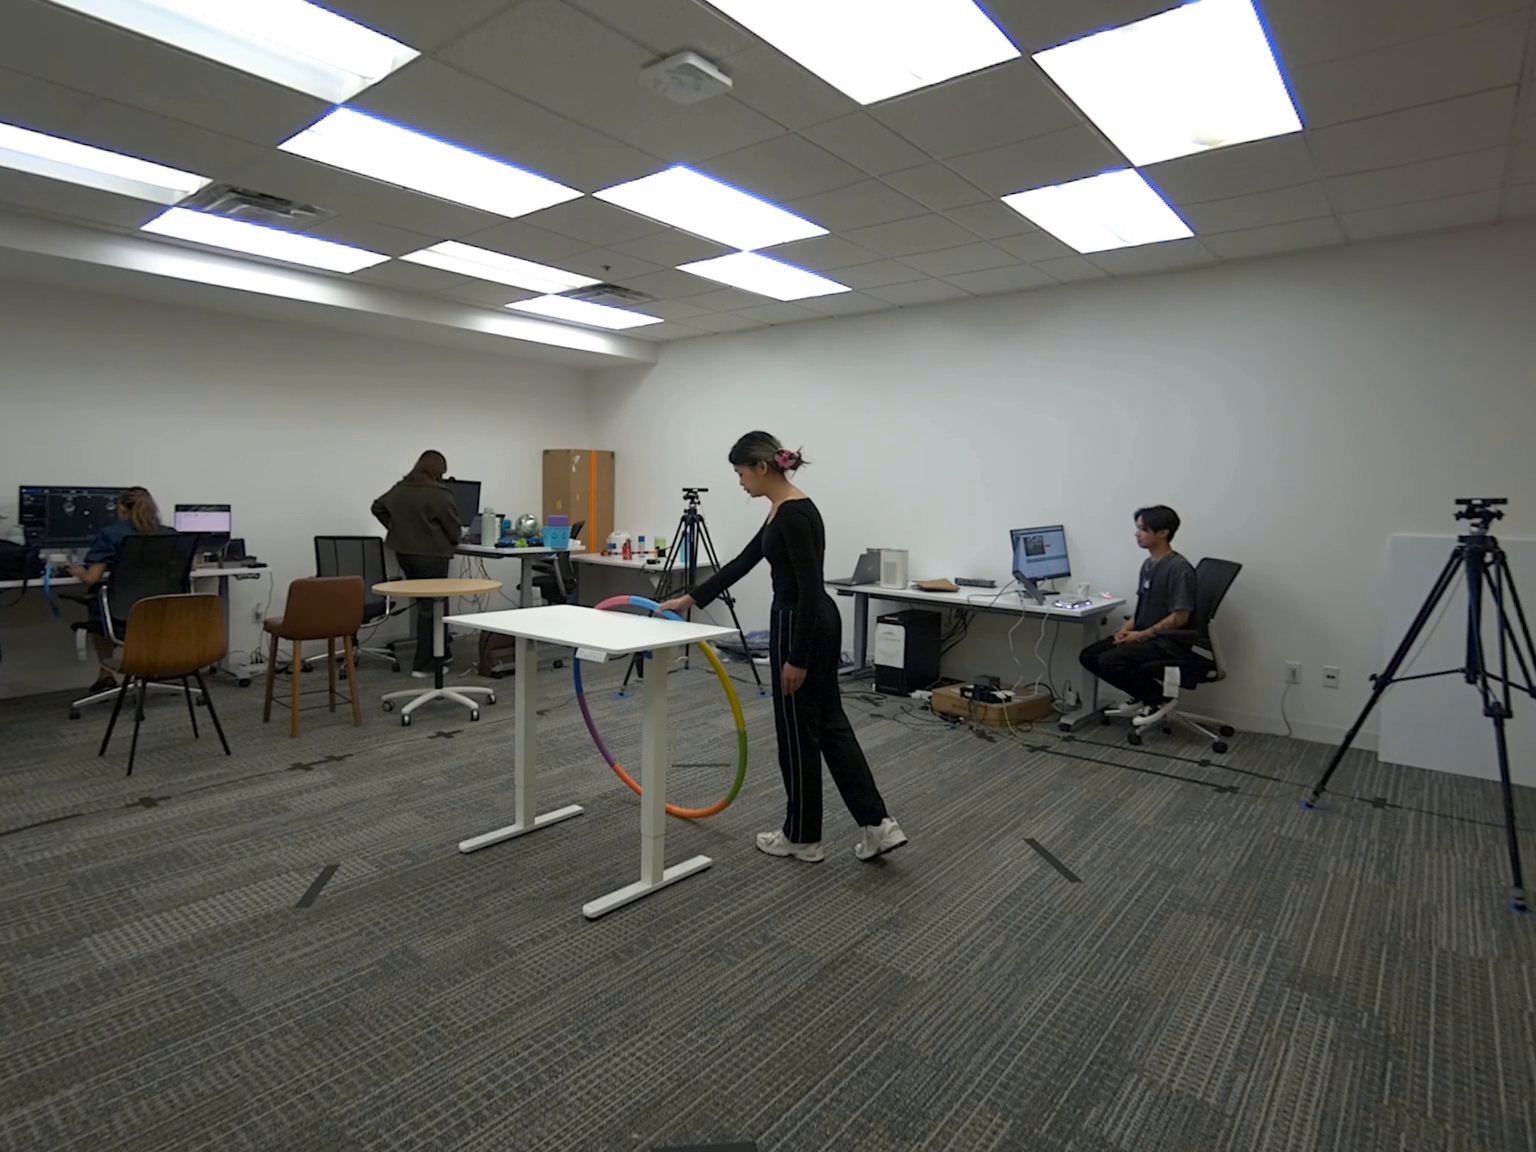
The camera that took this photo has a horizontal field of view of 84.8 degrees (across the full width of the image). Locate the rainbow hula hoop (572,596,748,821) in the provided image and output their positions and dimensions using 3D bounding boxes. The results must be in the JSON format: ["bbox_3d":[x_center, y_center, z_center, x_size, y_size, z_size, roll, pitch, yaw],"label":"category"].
[{"bbox_3d":[-0.493,0.552,3.536,1.011,0.963,0.035,4,19,40],"label":"rainbow hula hoop"}]
